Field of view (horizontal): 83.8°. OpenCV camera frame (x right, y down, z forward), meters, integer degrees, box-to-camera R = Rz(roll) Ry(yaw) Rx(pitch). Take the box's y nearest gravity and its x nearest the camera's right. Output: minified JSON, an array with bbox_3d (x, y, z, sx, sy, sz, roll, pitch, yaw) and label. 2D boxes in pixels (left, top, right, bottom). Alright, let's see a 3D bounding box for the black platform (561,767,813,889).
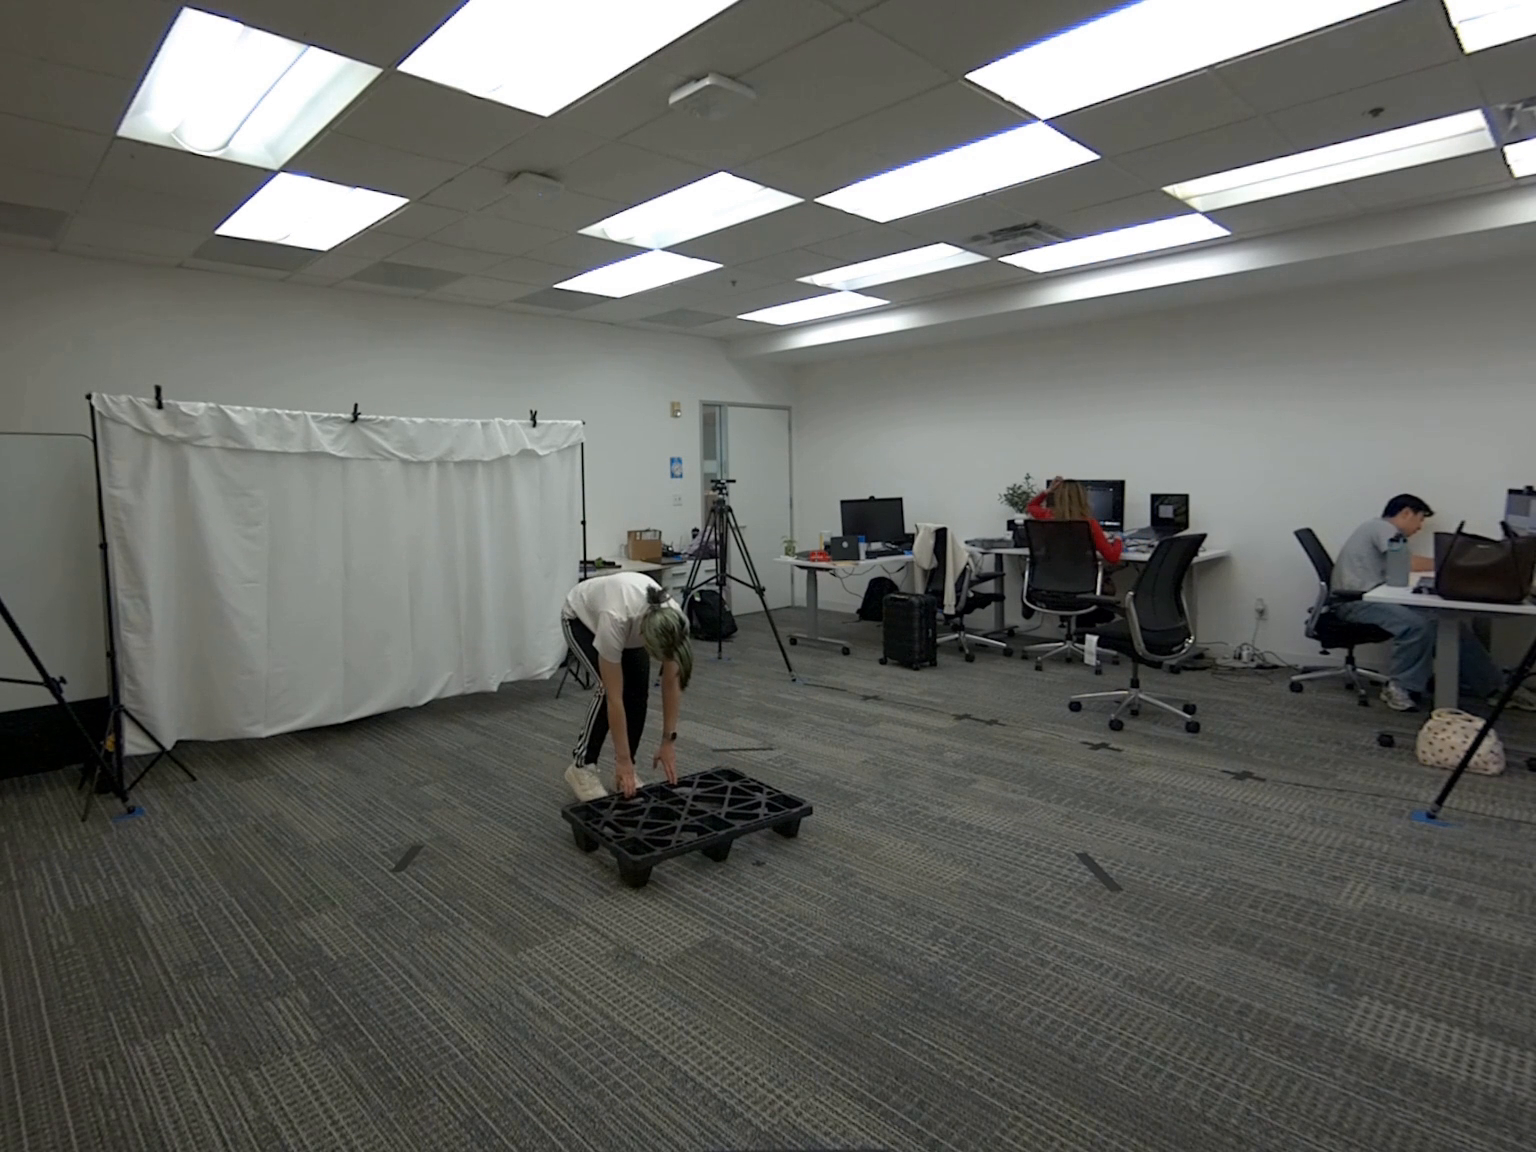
[{"bbox_3d":[-0.317,0.961,3.321,0.785,0.143,0.623,-6,7,-36],"label":"black platform"}]
